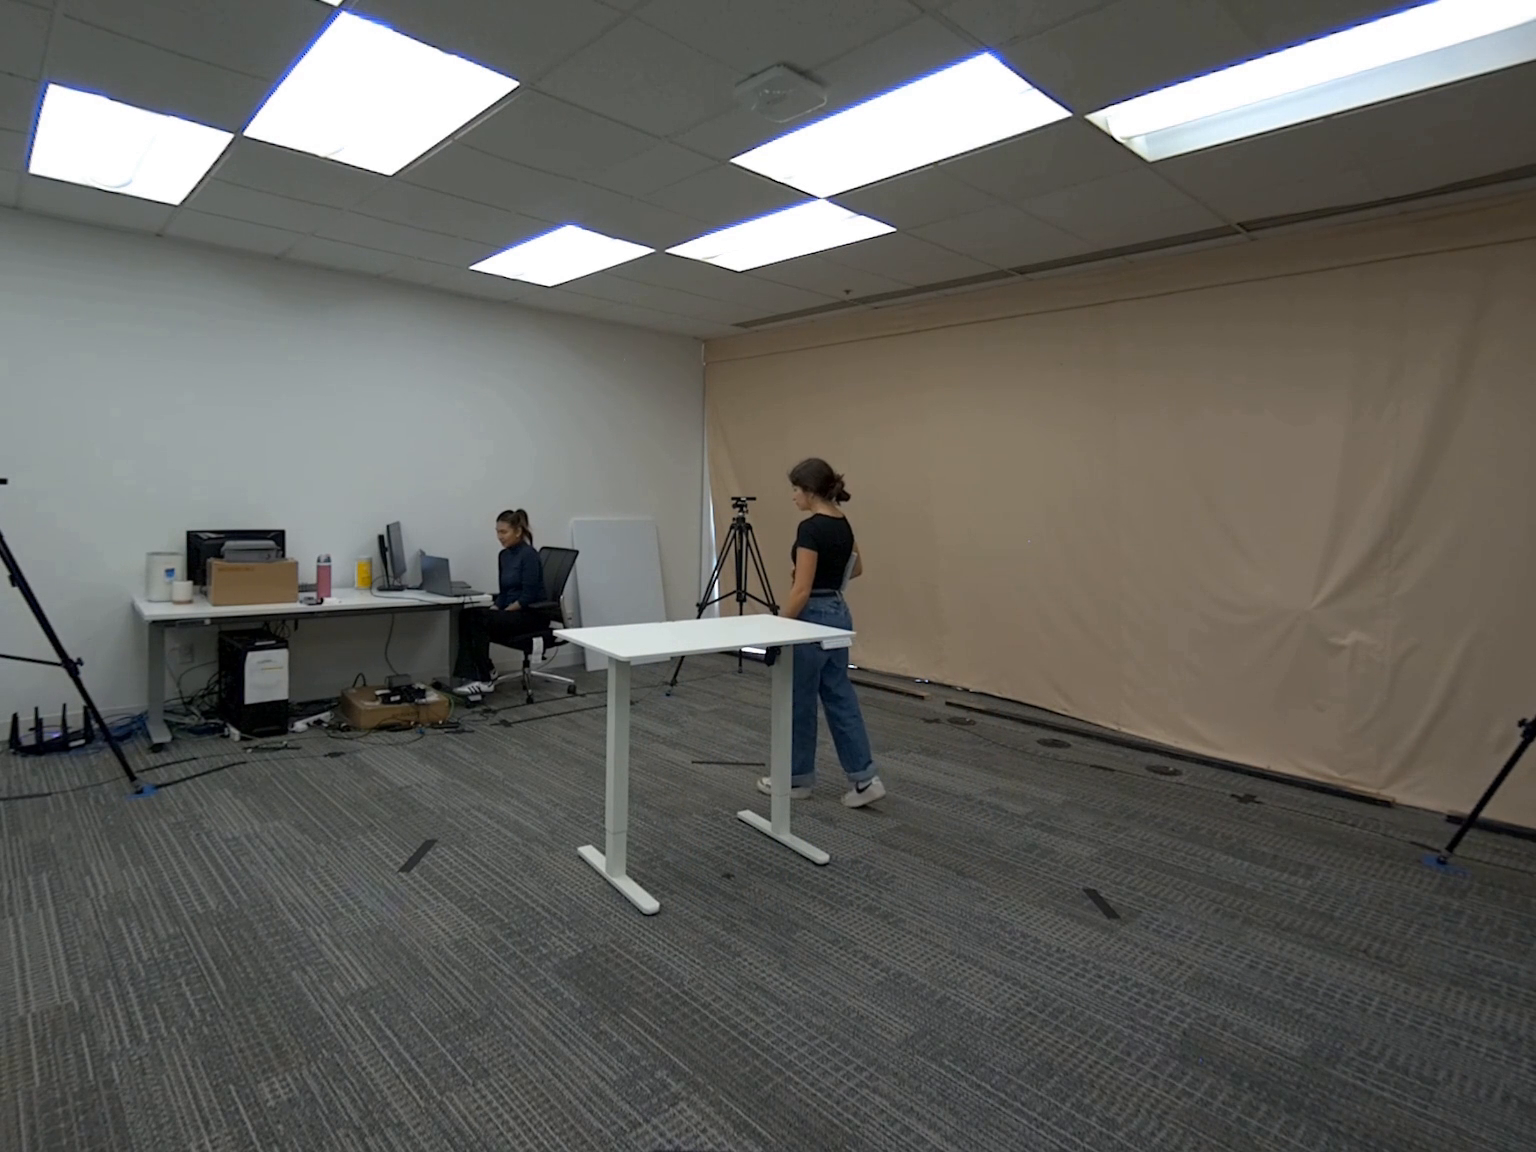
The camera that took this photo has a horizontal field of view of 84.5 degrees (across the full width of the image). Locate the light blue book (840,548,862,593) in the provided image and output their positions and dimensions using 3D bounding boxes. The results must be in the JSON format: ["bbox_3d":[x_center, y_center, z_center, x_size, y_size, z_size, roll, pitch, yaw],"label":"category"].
[{"bbox_3d":[0.267,-0.062,4.027,0.265,0.190,0.058,20,12,14],"label":"light blue book"}]
